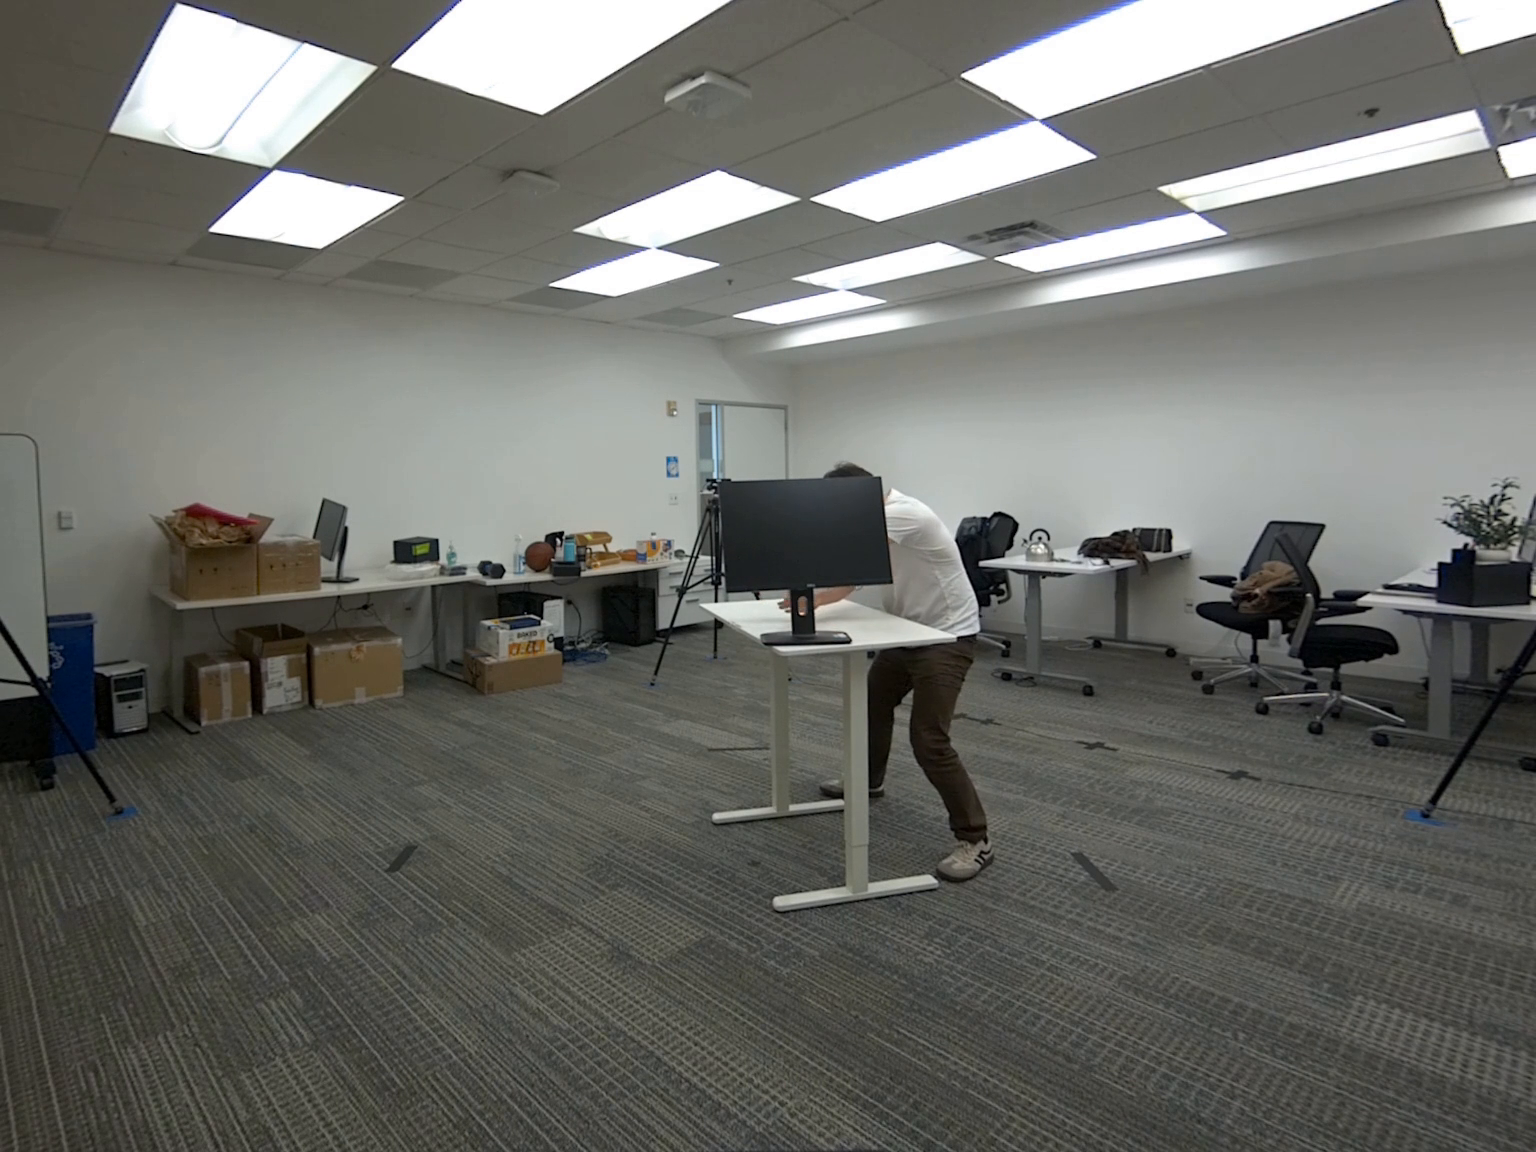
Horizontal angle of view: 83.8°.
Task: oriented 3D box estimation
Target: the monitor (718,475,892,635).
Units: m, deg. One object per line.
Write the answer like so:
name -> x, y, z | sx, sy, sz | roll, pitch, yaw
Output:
monitor -> 0.114, -0.046, 2.718 | 0.533, 0.521, 0.190 | -2, 3, -12
